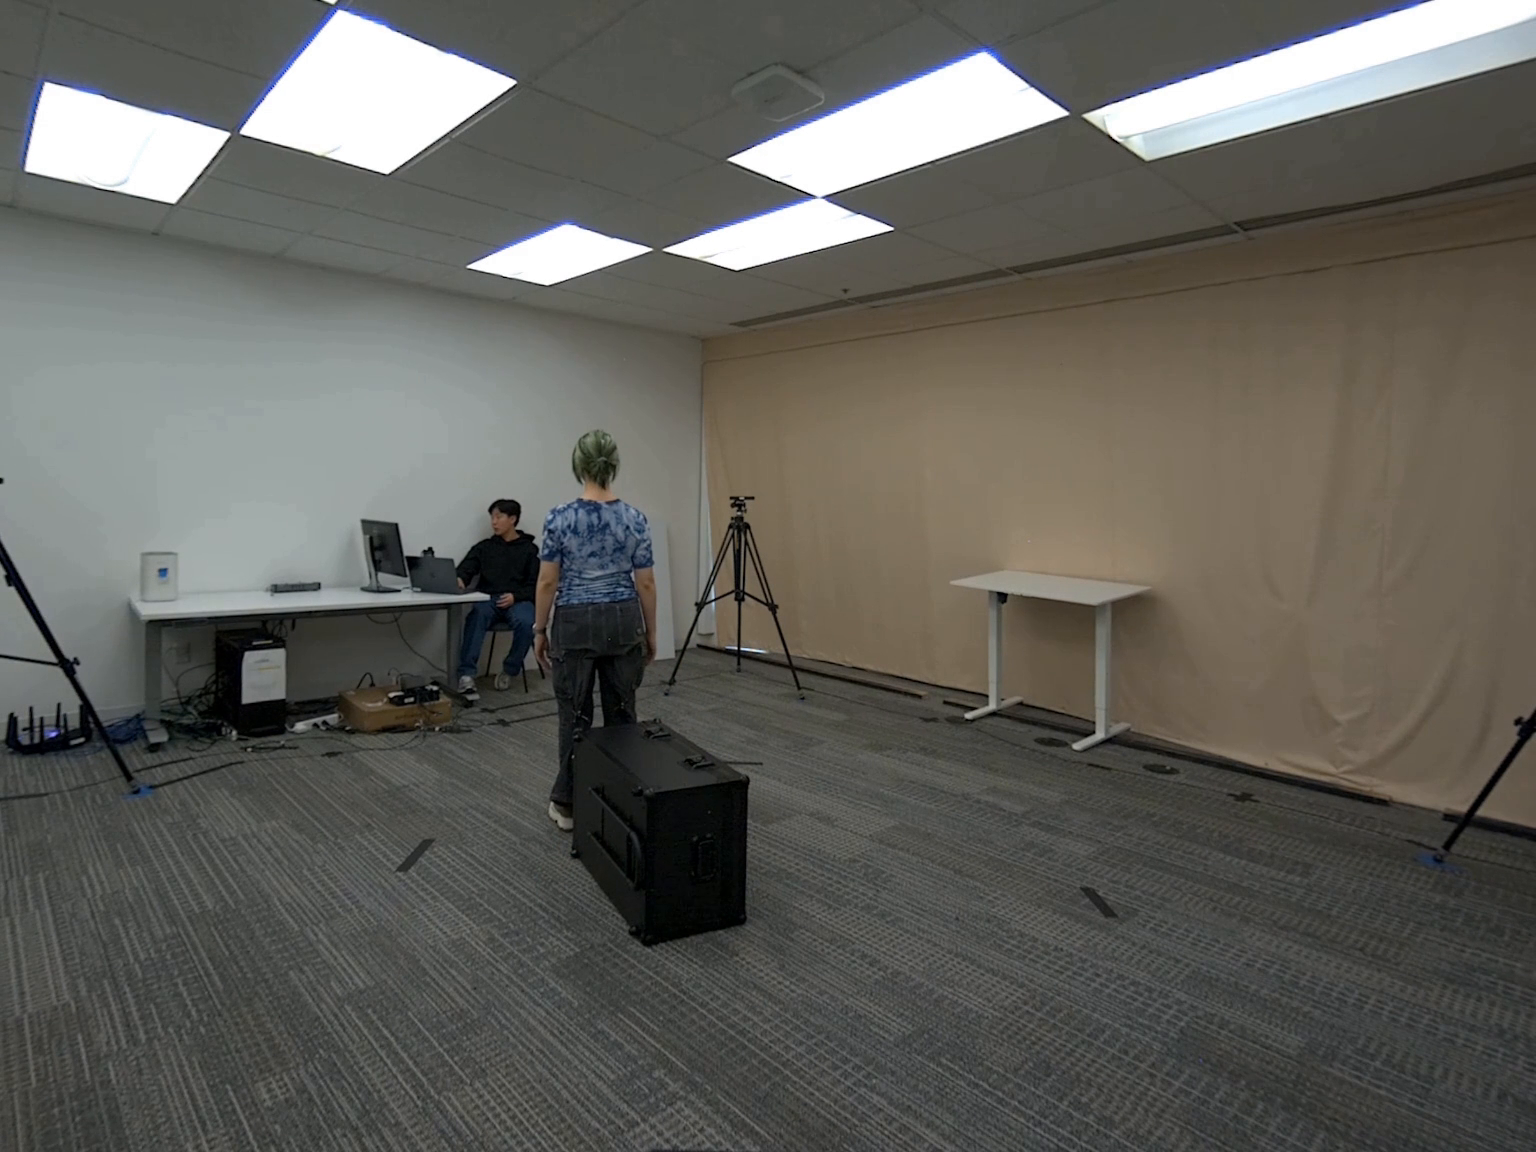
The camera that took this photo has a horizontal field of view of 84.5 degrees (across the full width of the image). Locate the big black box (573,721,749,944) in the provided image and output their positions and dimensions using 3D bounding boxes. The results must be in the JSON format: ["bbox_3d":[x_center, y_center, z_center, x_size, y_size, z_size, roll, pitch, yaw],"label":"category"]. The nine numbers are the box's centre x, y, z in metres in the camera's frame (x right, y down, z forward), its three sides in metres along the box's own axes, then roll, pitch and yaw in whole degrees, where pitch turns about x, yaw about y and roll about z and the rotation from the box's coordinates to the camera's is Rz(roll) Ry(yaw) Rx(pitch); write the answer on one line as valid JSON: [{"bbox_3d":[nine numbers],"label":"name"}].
[{"bbox_3d":[-0.439,0.863,3.019,0.389,0.520,0.880,0,4,-27],"label":"big black box"}]
